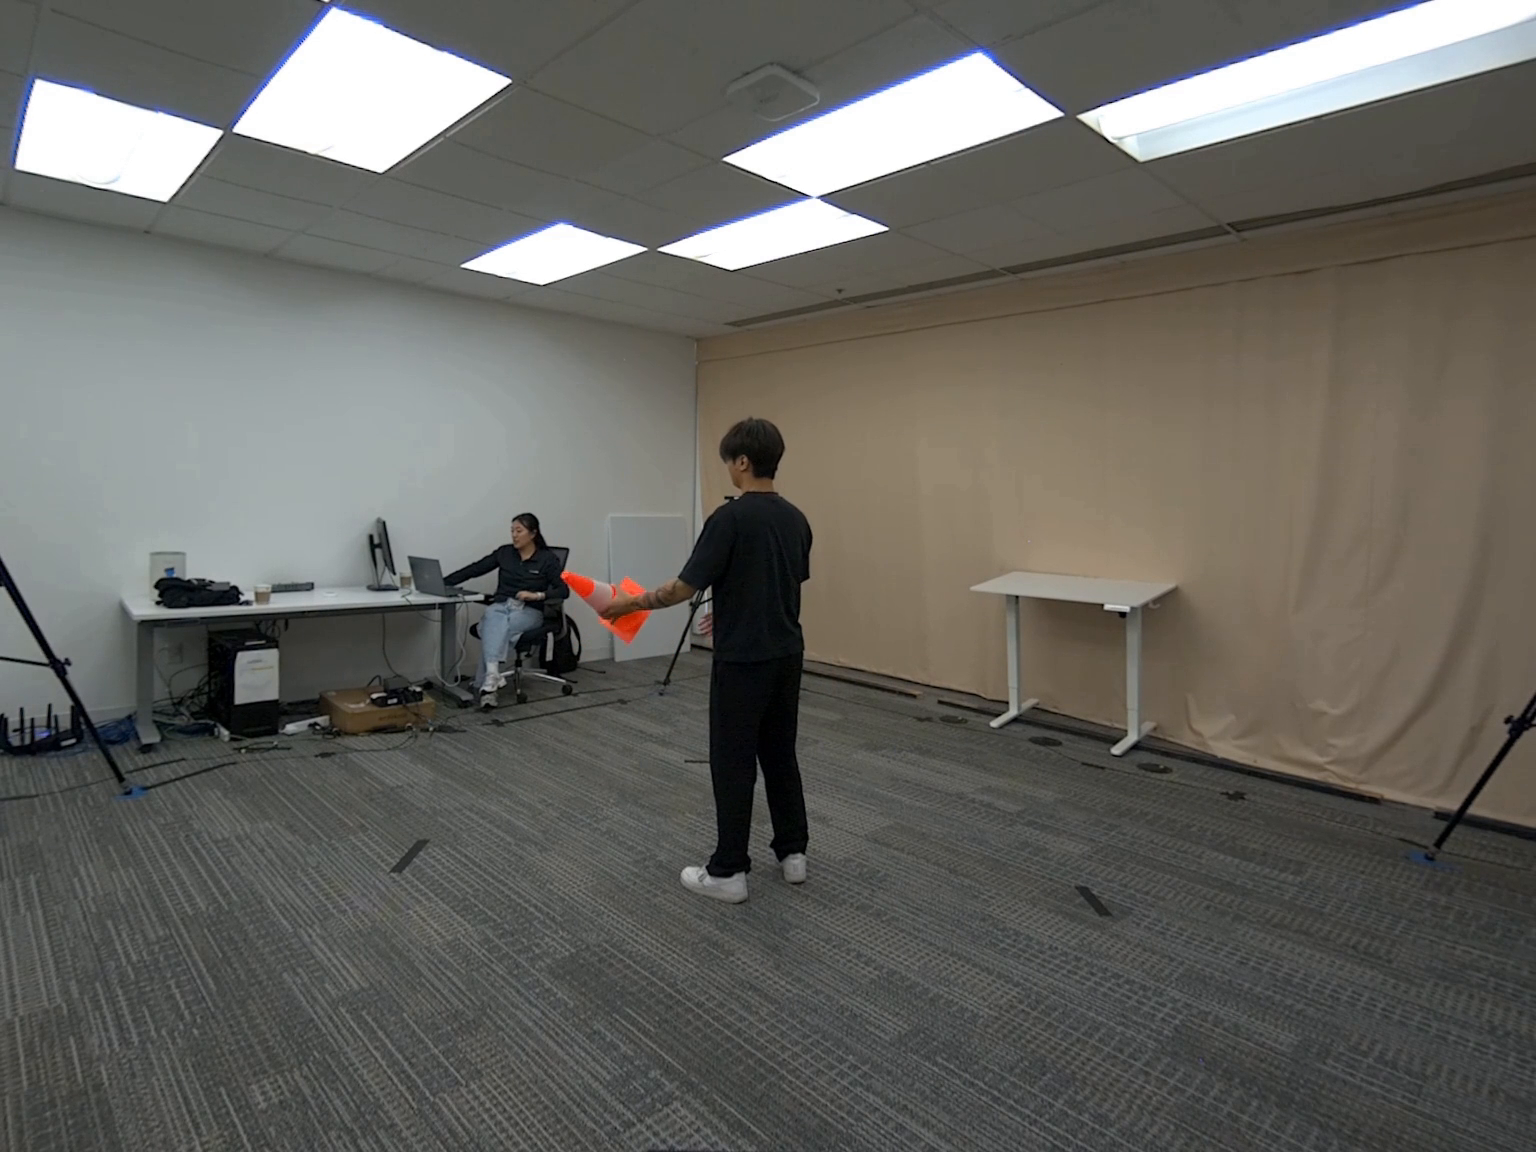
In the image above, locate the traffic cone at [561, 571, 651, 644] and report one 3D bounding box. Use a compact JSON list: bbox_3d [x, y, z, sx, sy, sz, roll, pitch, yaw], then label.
[{"bbox_3d":[-0.618,0.069,3.015,0.209,0.205,0.372,30,-3,36],"label":"traffic cone"}]
